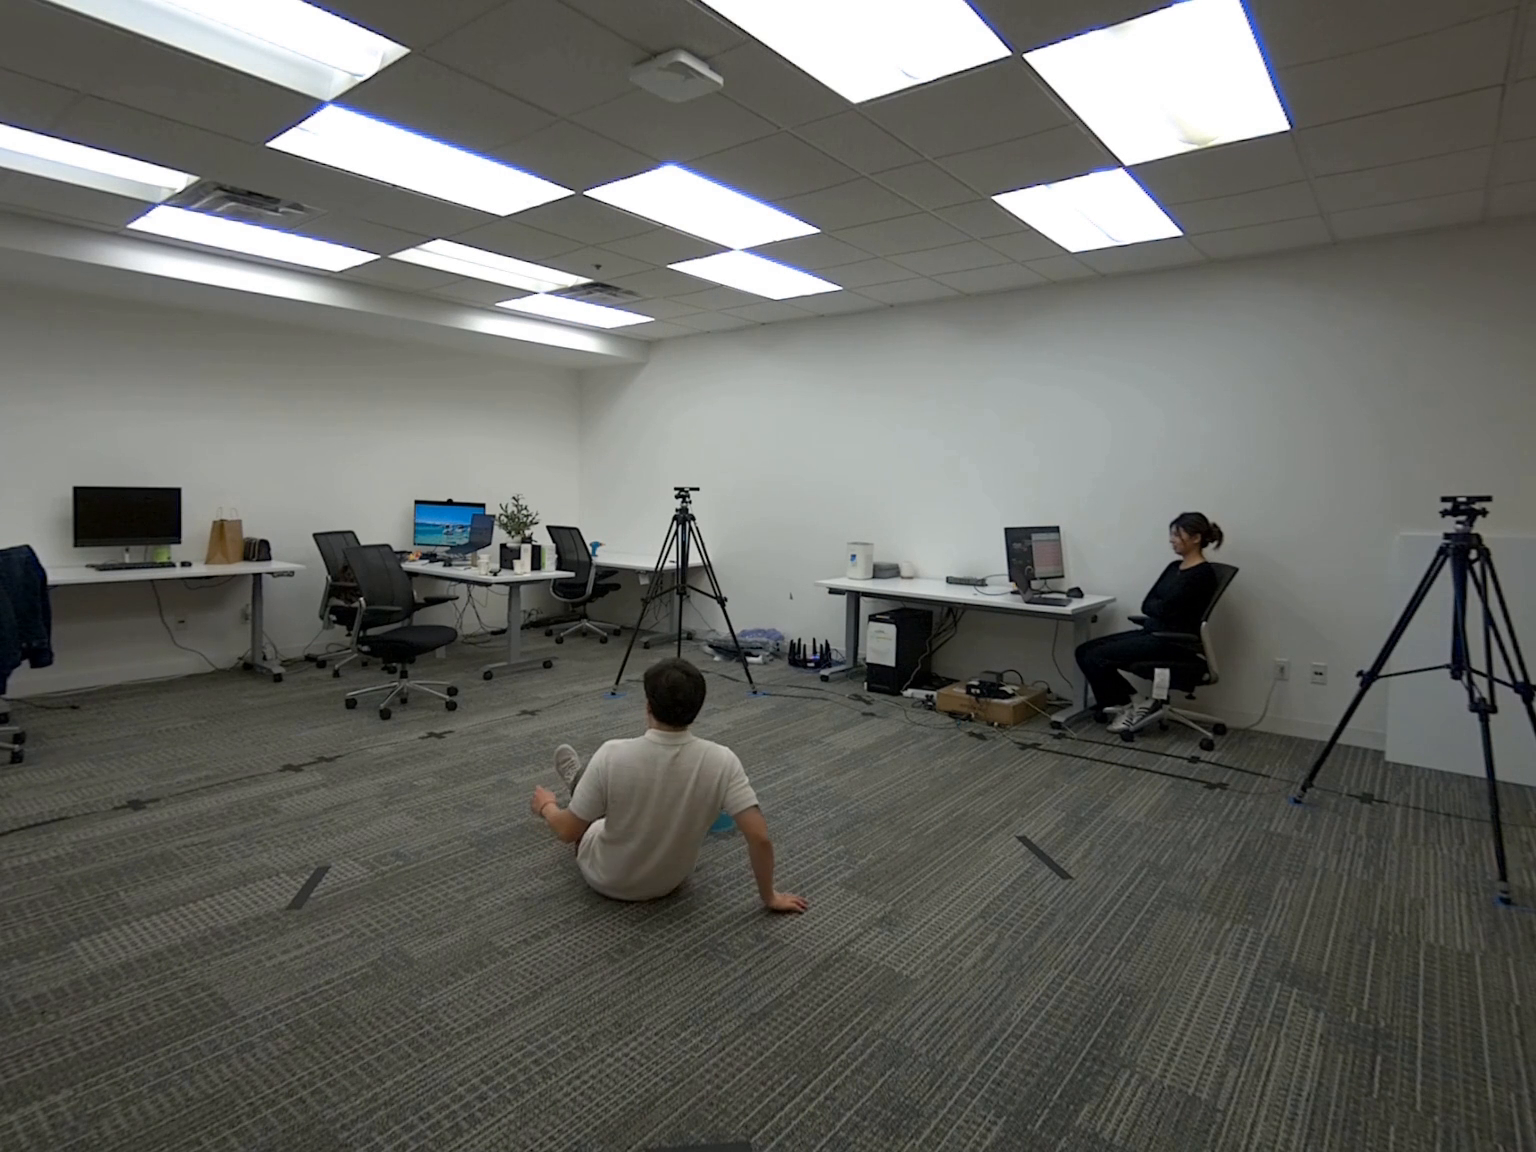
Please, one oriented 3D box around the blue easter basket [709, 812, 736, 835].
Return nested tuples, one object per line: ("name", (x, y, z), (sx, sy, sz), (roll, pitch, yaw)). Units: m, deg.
("blue easter basket", (-0.234, 0.942, 3.531), (0.243, 0.155, 0.245), (2, 6, -2))
